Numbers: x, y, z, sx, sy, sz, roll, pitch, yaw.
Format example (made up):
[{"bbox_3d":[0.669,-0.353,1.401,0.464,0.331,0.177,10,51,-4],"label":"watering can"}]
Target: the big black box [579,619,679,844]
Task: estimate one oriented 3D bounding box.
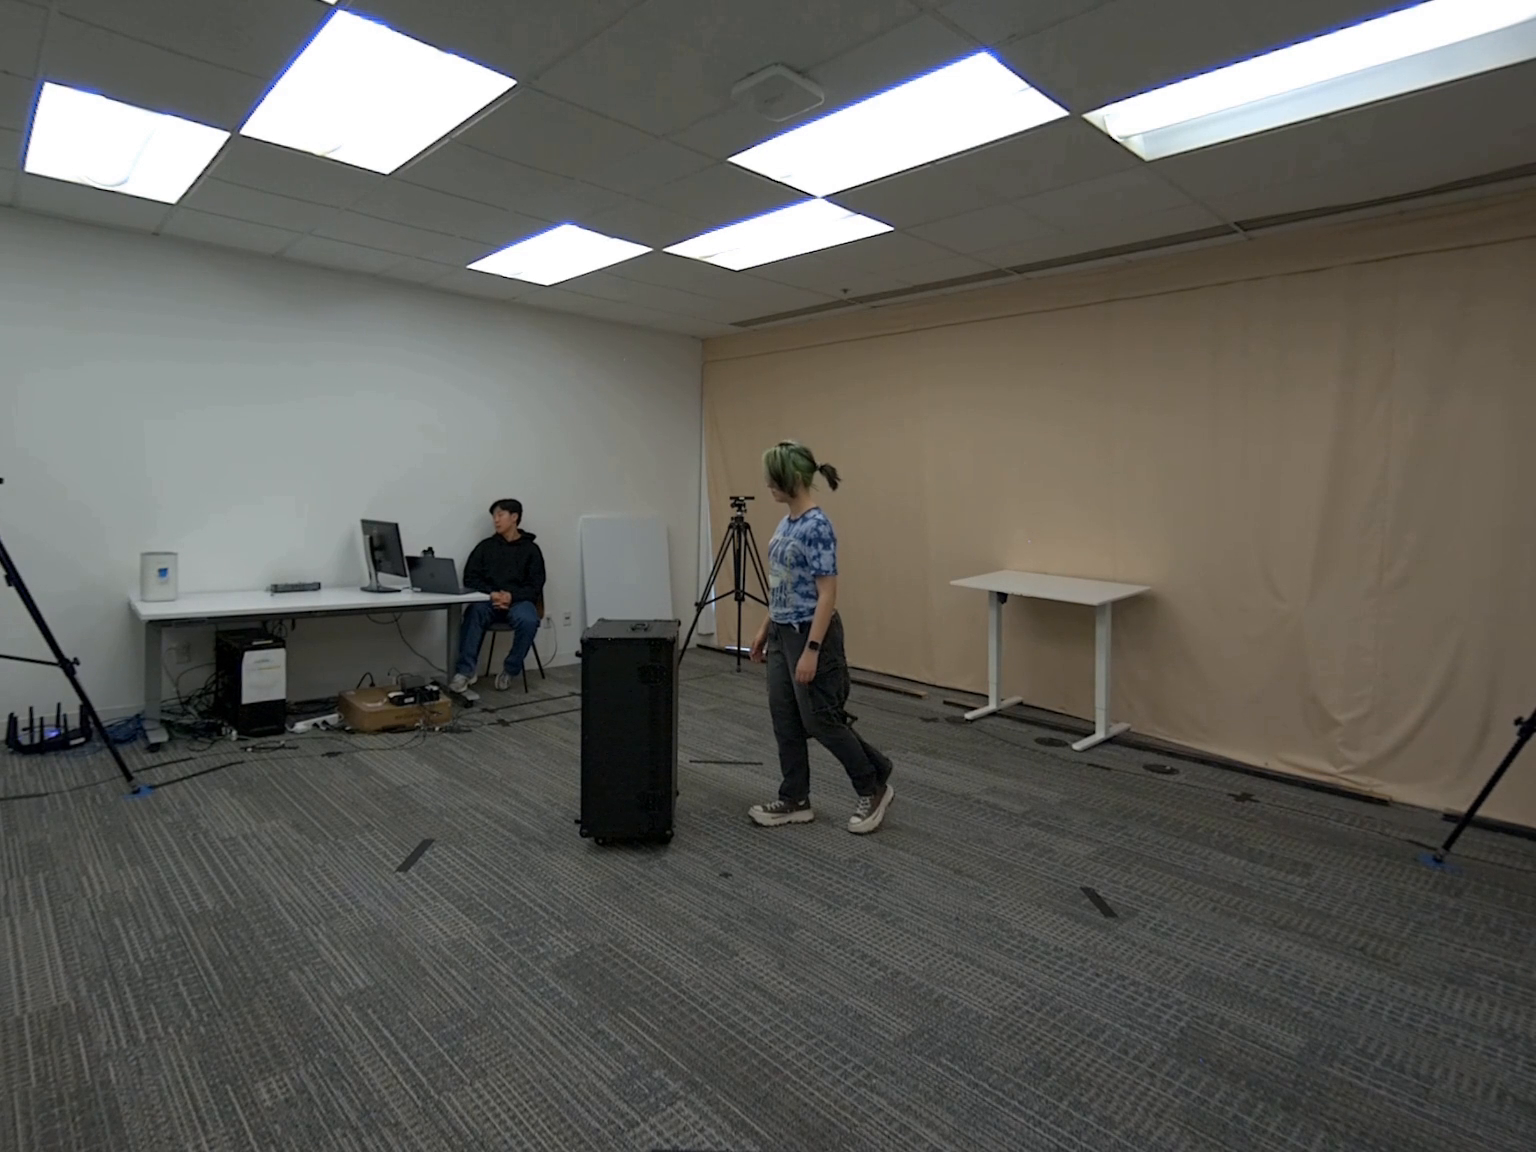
[{"bbox_3d":[-0.574,0.637,3.458,0.395,0.859,0.524,0,4,-4],"label":"big black box"}]
